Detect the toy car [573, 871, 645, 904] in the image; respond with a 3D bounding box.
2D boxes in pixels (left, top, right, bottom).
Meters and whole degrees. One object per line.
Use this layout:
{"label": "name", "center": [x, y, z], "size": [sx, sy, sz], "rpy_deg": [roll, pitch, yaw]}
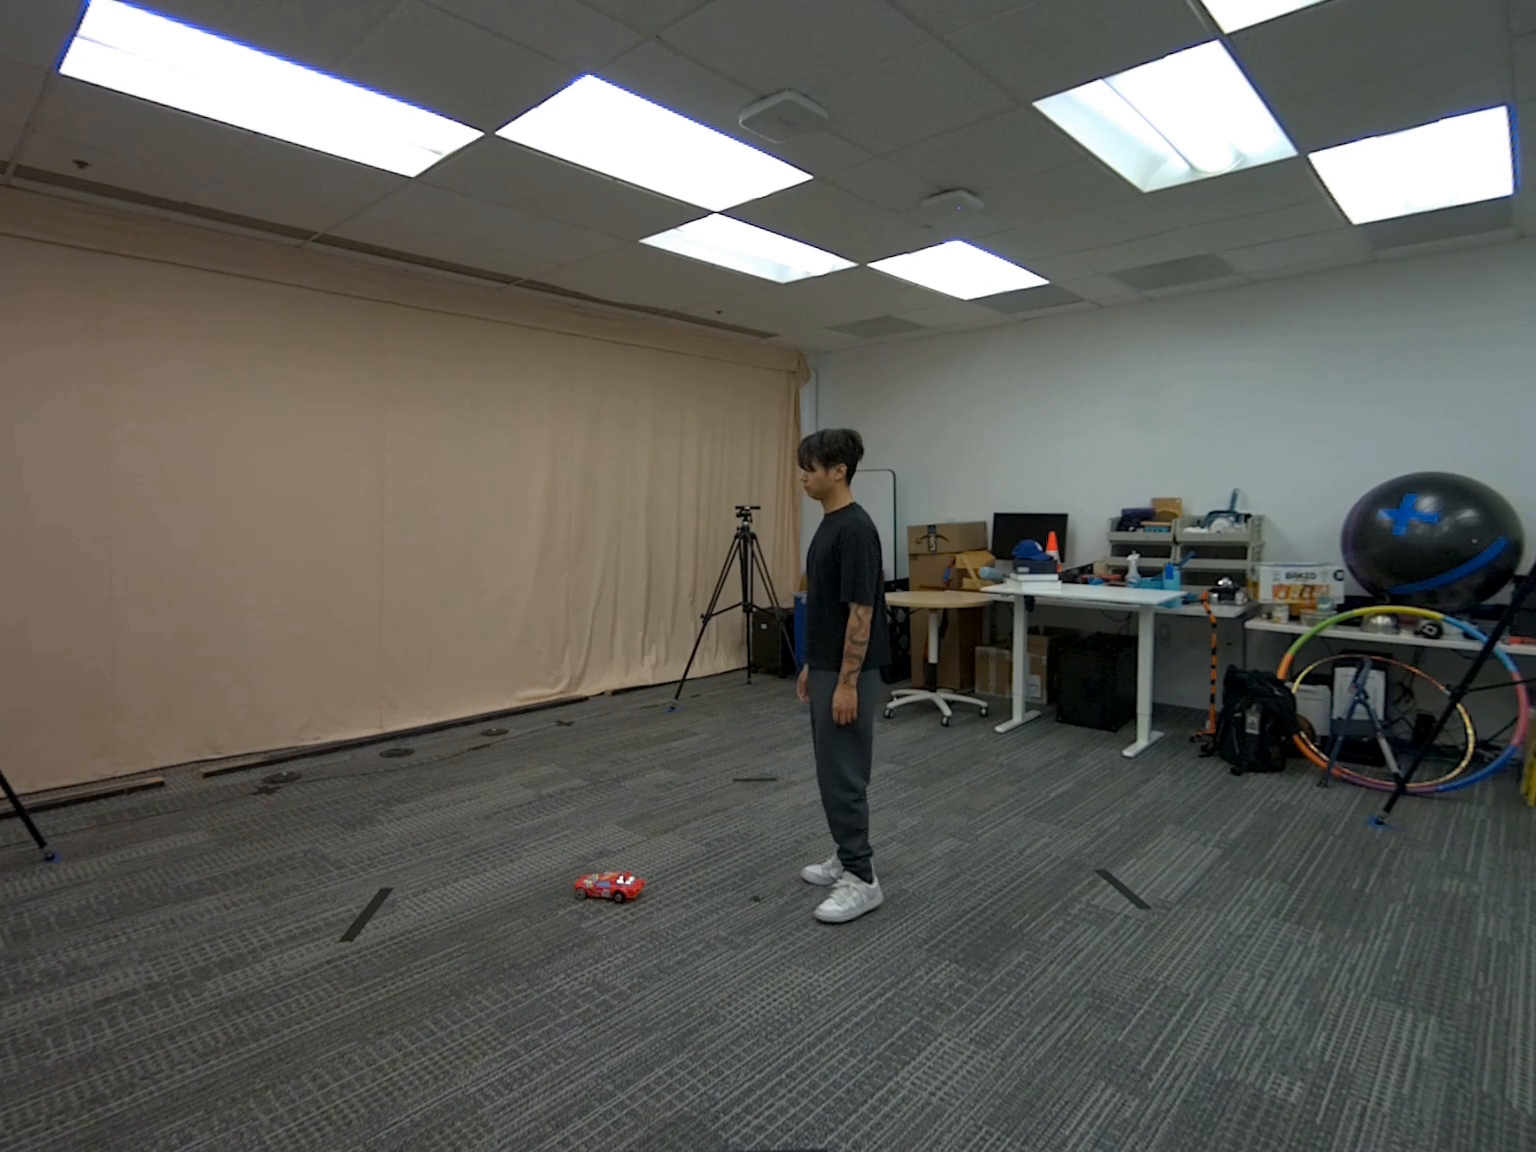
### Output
{"label": "toy car", "center": [-0.570, 1.117, 3.011], "size": [0.258, 0.083, 0.129], "rpy_deg": [-10, 2, 14]}
